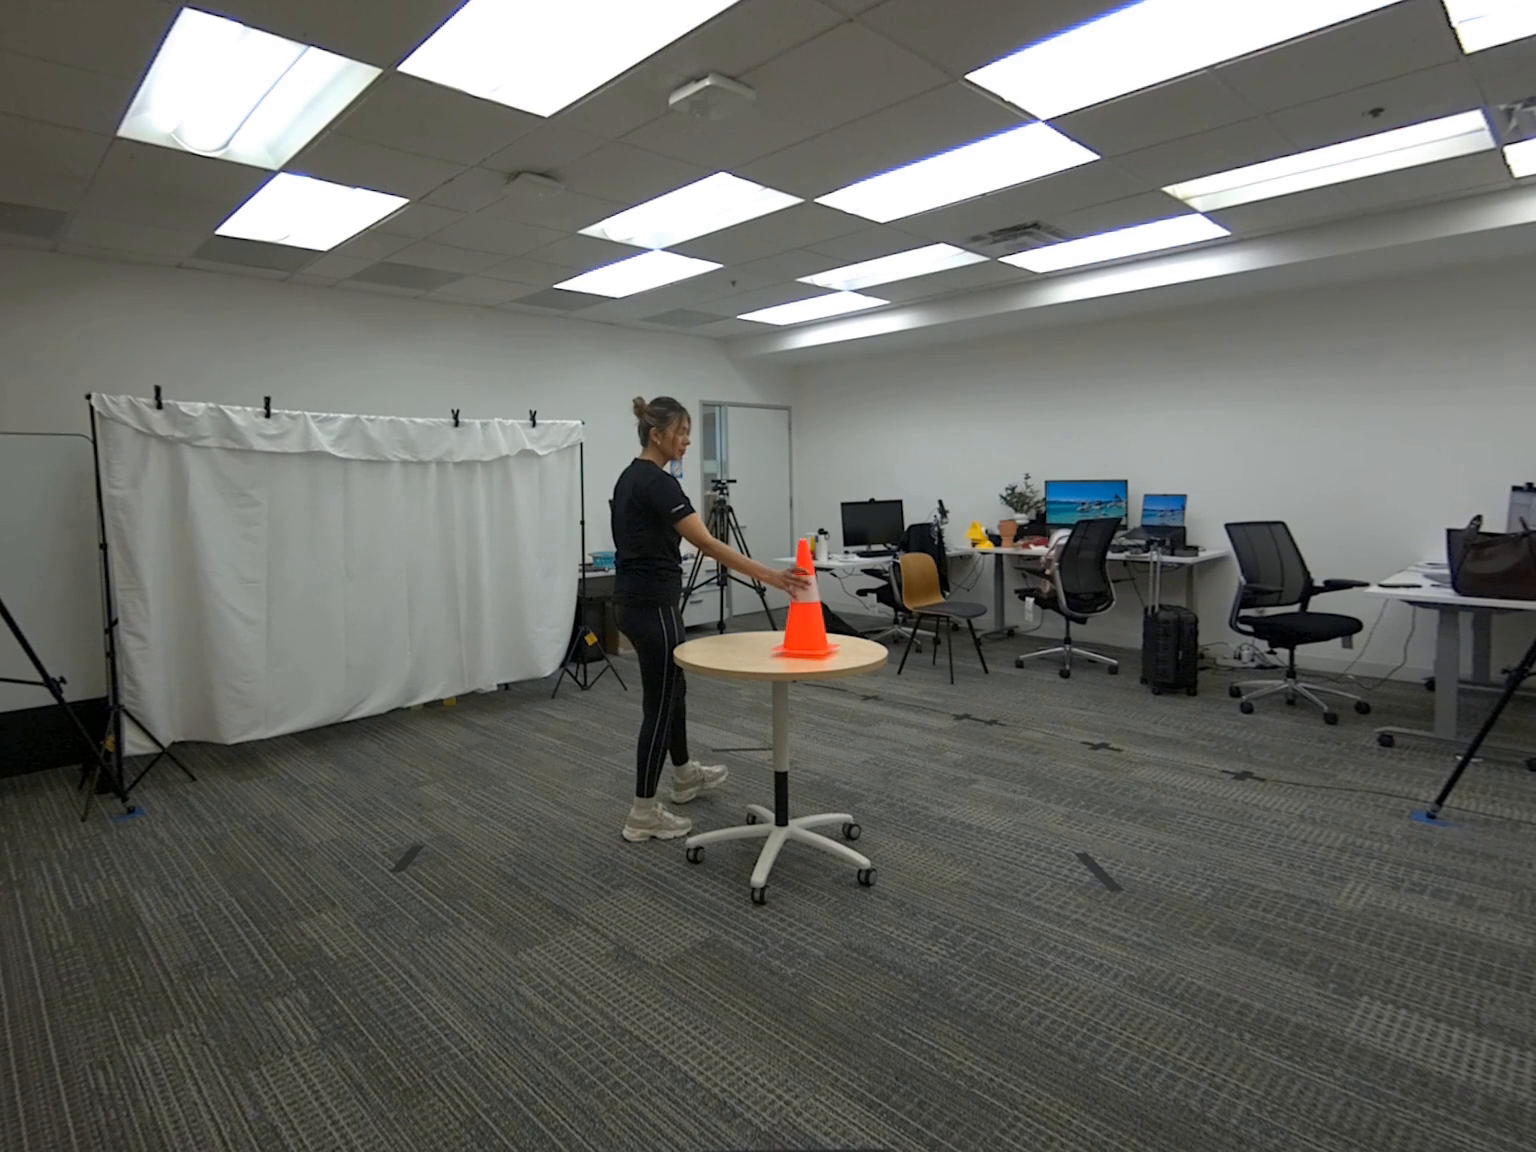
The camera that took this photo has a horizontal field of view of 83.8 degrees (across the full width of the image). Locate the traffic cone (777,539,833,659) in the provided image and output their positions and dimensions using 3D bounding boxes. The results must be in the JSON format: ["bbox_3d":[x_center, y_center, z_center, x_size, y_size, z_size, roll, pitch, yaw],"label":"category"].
[{"bbox_3d":[0.131,0.054,2.984,0.210,0.383,0.199,-2,3,28],"label":"traffic cone"}]
